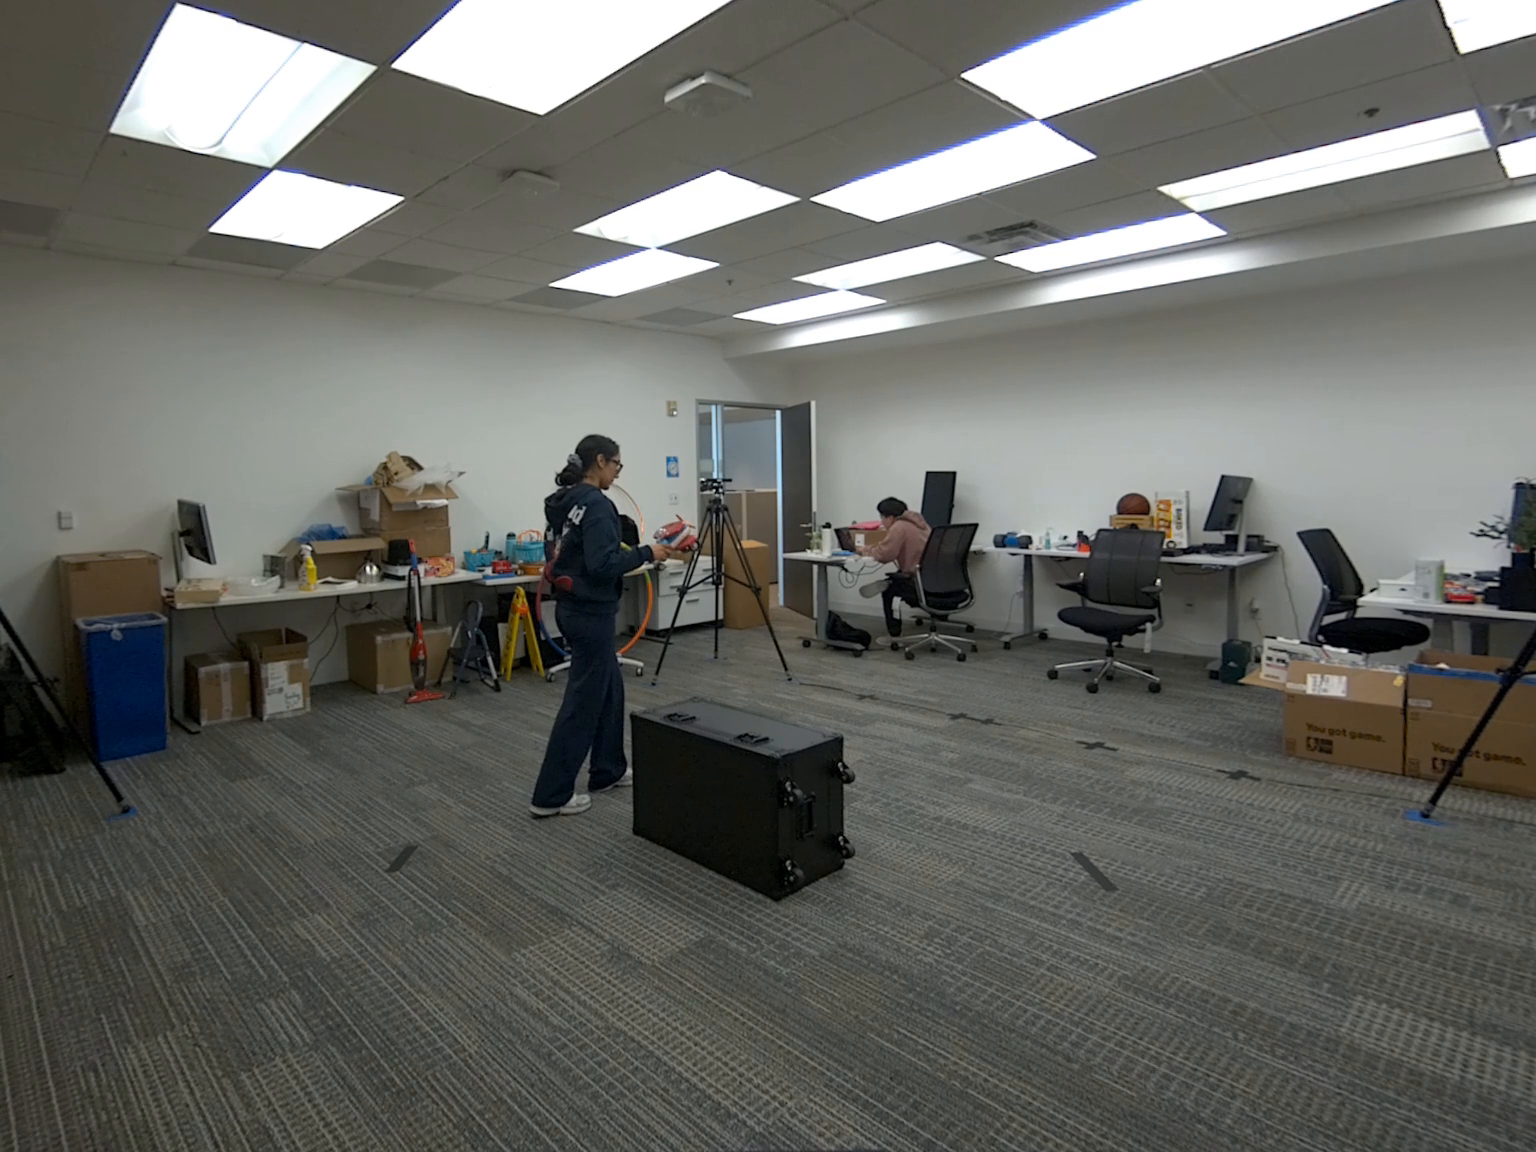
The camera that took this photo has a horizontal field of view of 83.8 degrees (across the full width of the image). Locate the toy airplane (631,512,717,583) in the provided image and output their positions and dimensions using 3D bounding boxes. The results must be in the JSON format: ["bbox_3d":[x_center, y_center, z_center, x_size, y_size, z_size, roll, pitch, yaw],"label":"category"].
[{"bbox_3d":[-0.414,-0.128,3.703,0.255,0.154,0.258,-18,14,32],"label":"toy airplane"}]
